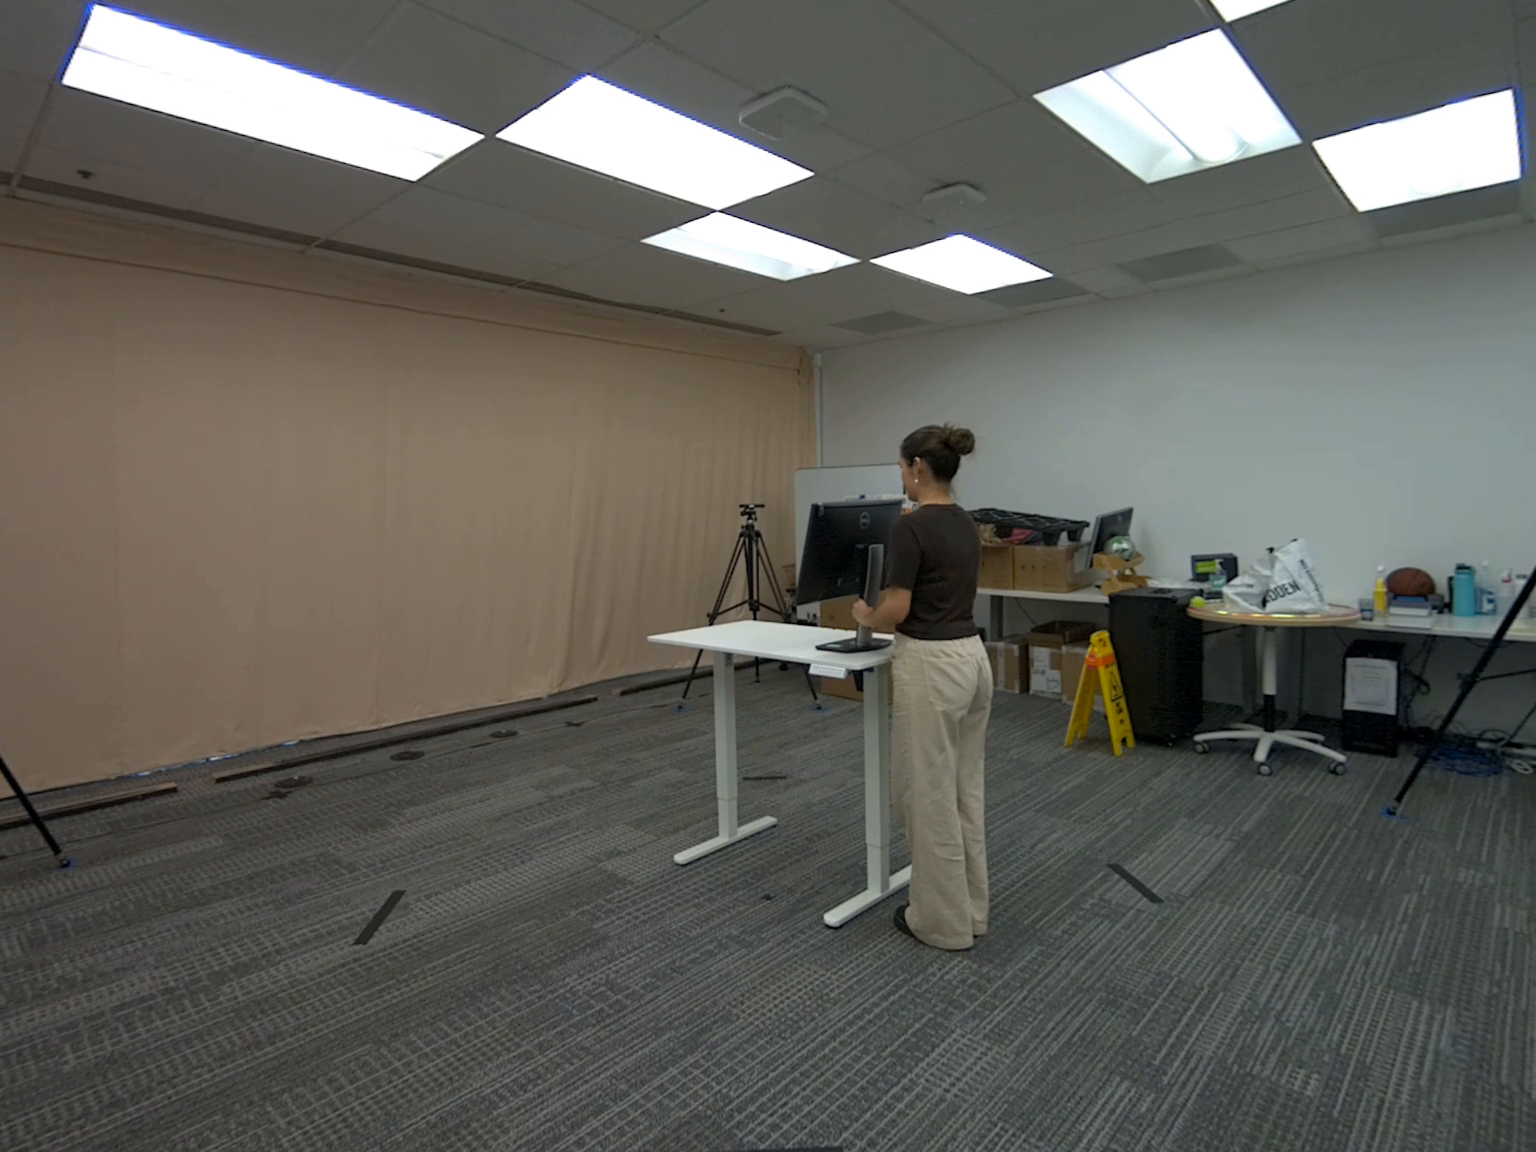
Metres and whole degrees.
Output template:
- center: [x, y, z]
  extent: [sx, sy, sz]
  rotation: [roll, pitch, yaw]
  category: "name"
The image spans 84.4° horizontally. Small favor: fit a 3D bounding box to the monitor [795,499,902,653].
- center: [0.318, -0.006, 2.957]
  extent: [0.180, 0.515, 0.514]
  rotation: [-3, 3, 41]
  category: "monitor"
